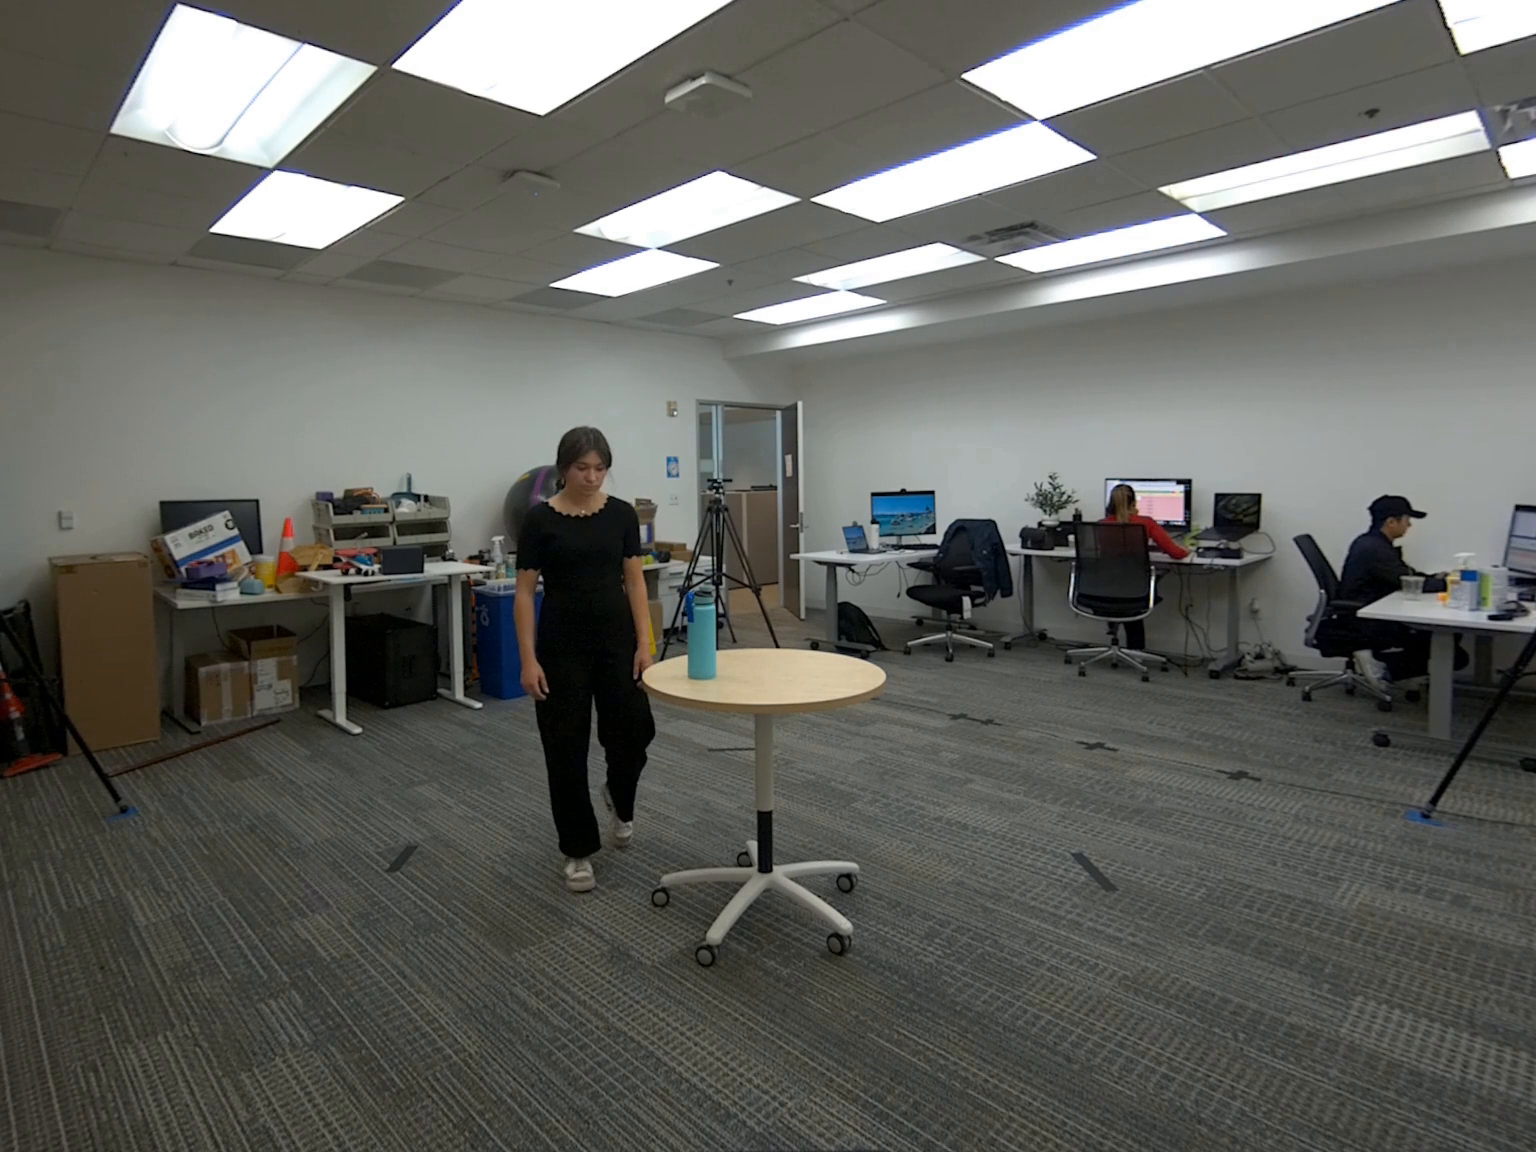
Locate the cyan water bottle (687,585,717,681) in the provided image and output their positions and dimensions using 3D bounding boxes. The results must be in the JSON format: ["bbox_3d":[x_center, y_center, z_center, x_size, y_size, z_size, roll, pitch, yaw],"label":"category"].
[{"bbox_3d":[-0.208,0.173,2.653,0.092,0.283,0.092,-3,2,-1],"label":"cyan water bottle"}]
